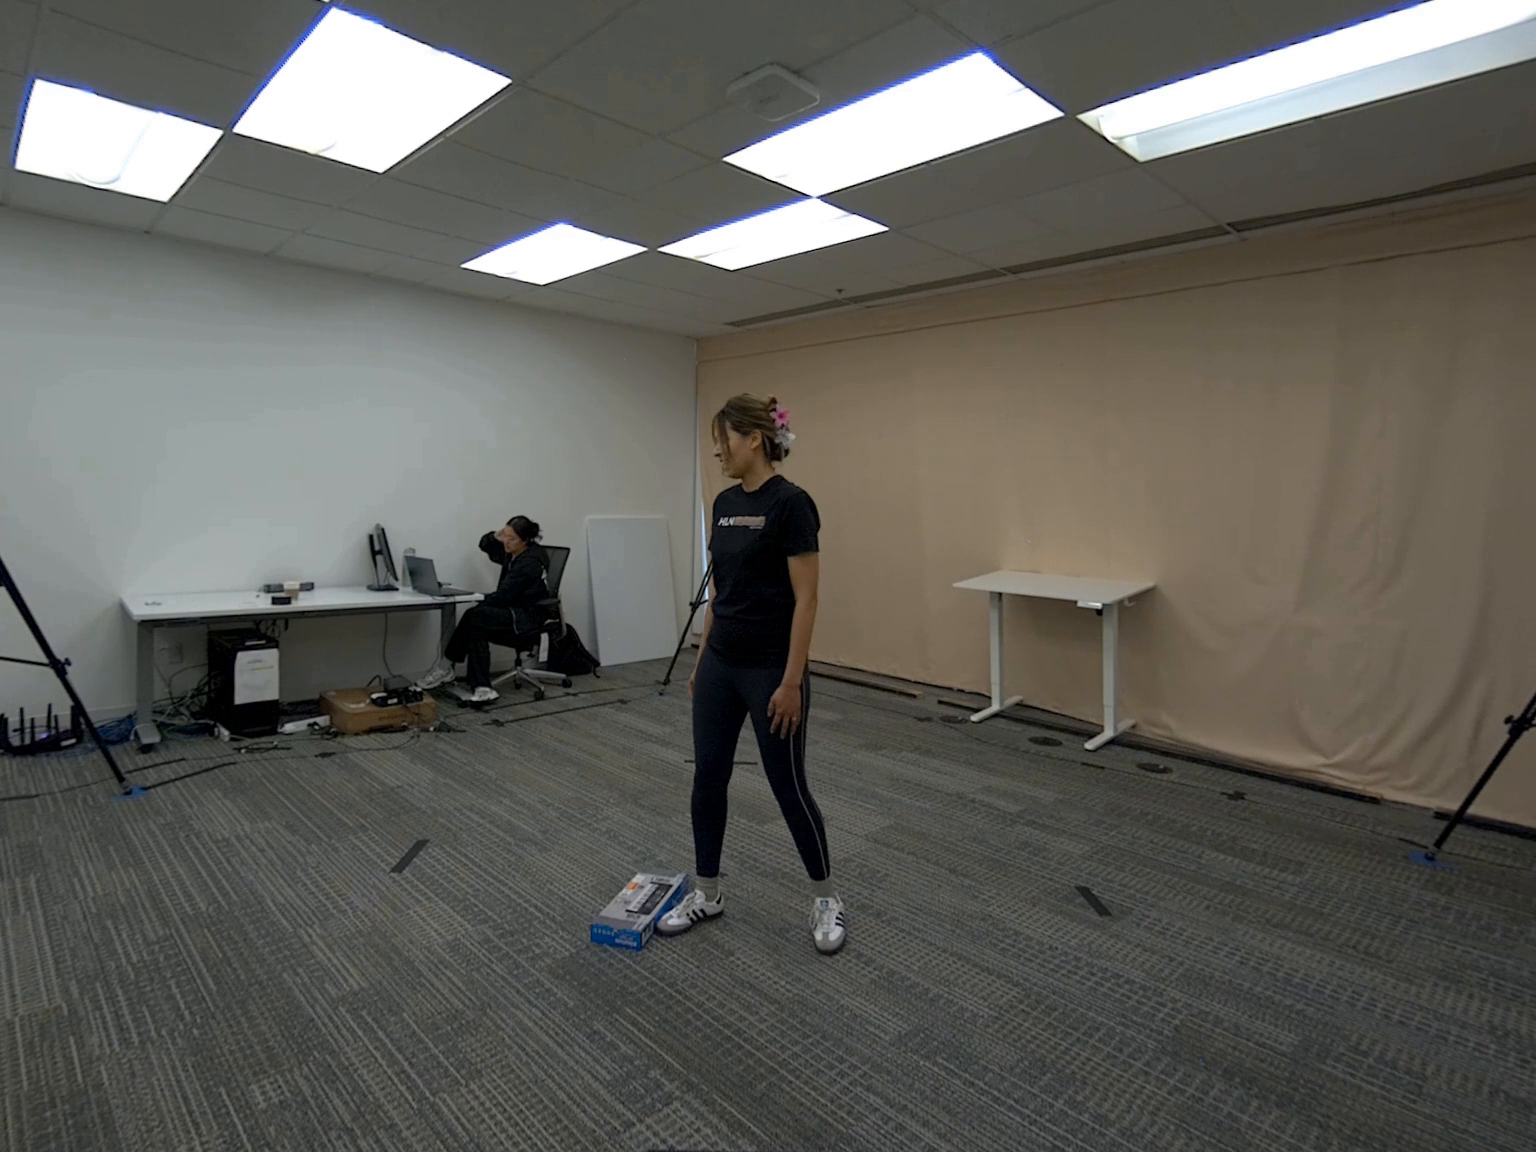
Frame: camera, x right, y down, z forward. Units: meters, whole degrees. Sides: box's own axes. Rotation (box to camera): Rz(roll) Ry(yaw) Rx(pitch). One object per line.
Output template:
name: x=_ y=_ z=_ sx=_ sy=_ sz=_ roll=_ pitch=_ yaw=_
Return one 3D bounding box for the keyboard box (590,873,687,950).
keyboard box: x=-0.423 y=1.097 z=2.797 sx=0.178 sy=0.059 sz=0.432 roll=2 pitch=6 yaw=15
